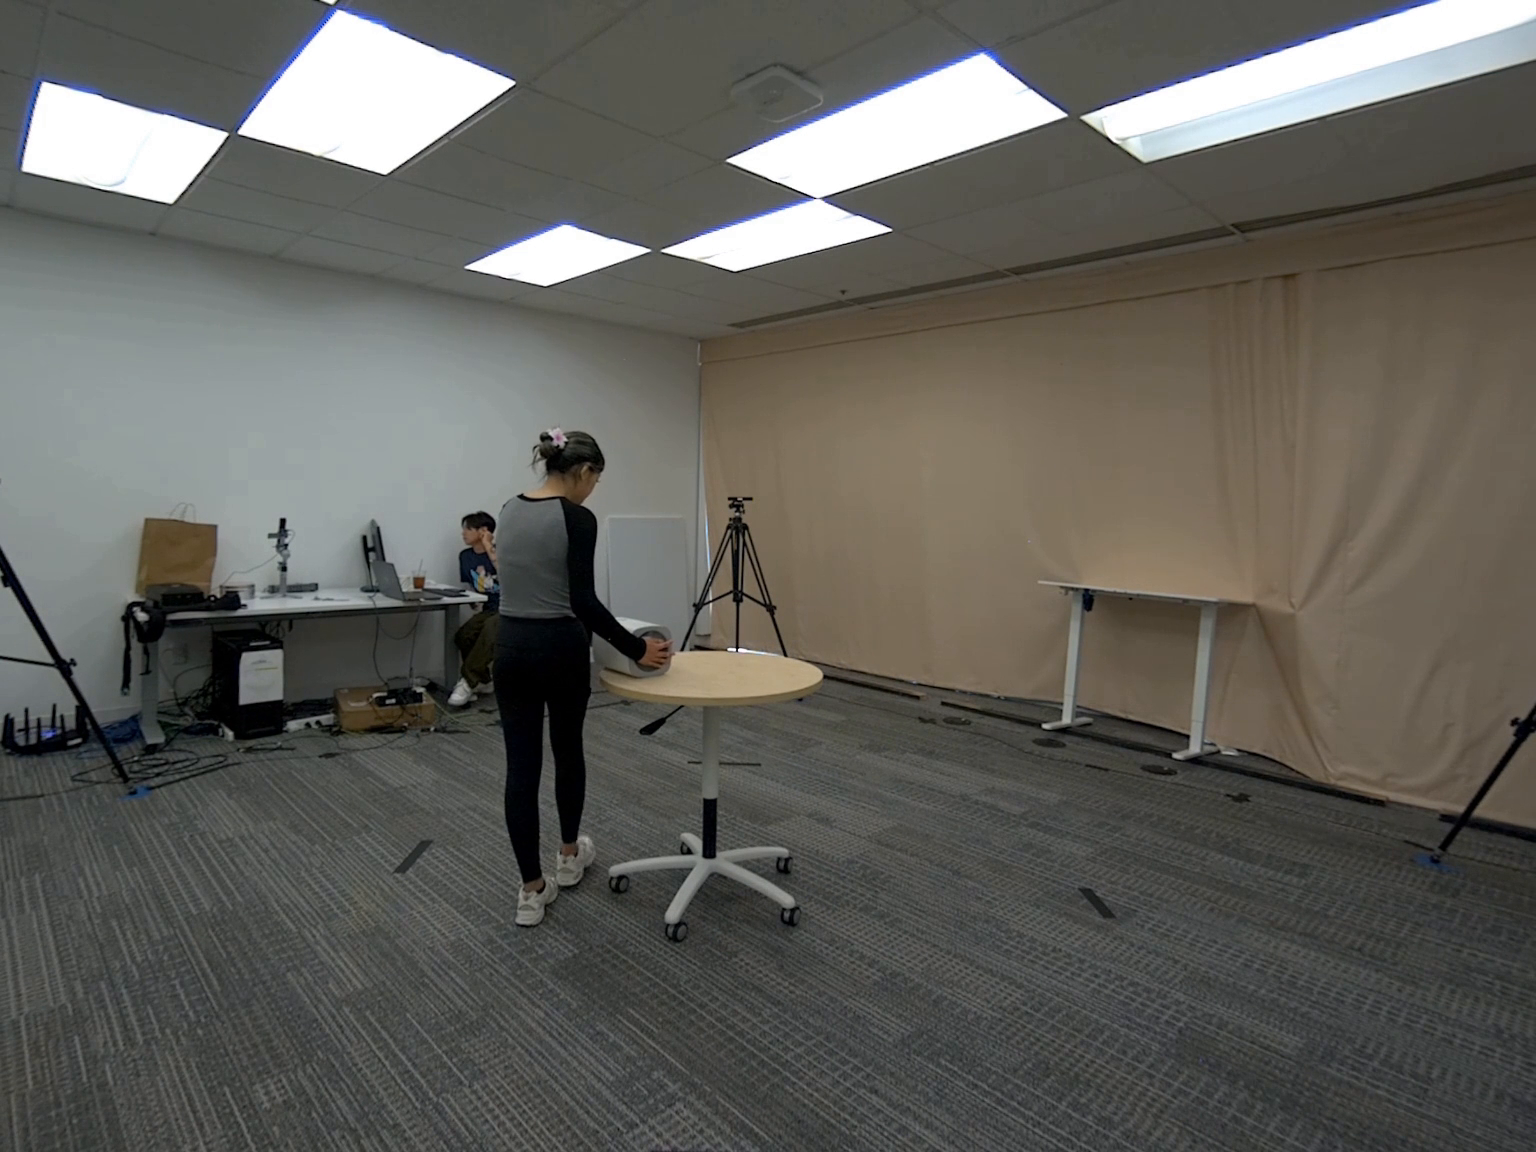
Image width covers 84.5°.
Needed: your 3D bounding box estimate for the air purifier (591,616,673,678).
[{"bbox_3d":[-0.483,0.241,2.914,0.167,0.171,0.272,-3,6,-40],"label":"air purifier"}]
